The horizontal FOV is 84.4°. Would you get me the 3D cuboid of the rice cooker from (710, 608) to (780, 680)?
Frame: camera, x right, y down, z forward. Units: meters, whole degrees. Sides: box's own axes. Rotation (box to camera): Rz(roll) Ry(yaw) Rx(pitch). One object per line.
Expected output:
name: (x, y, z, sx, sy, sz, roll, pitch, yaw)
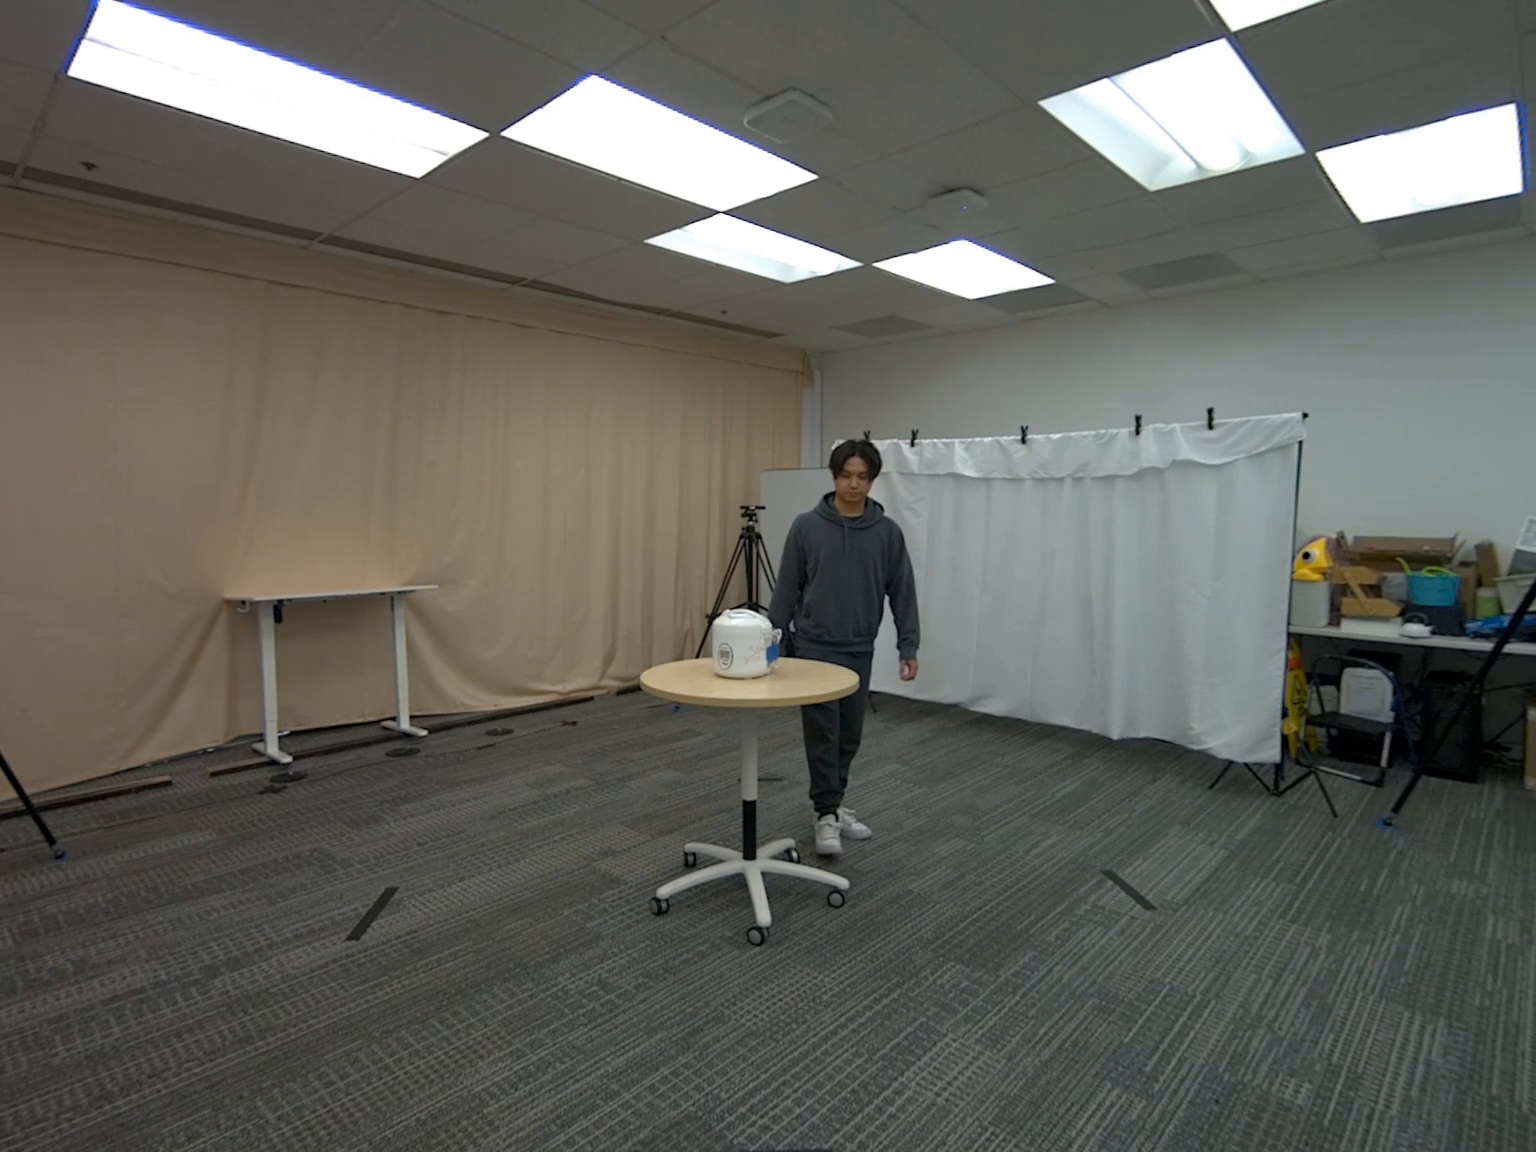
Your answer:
rice cooker: (-0.088, 0.230, 2.965, 0.227, 0.233, 0.211, 1, 1, 32)
